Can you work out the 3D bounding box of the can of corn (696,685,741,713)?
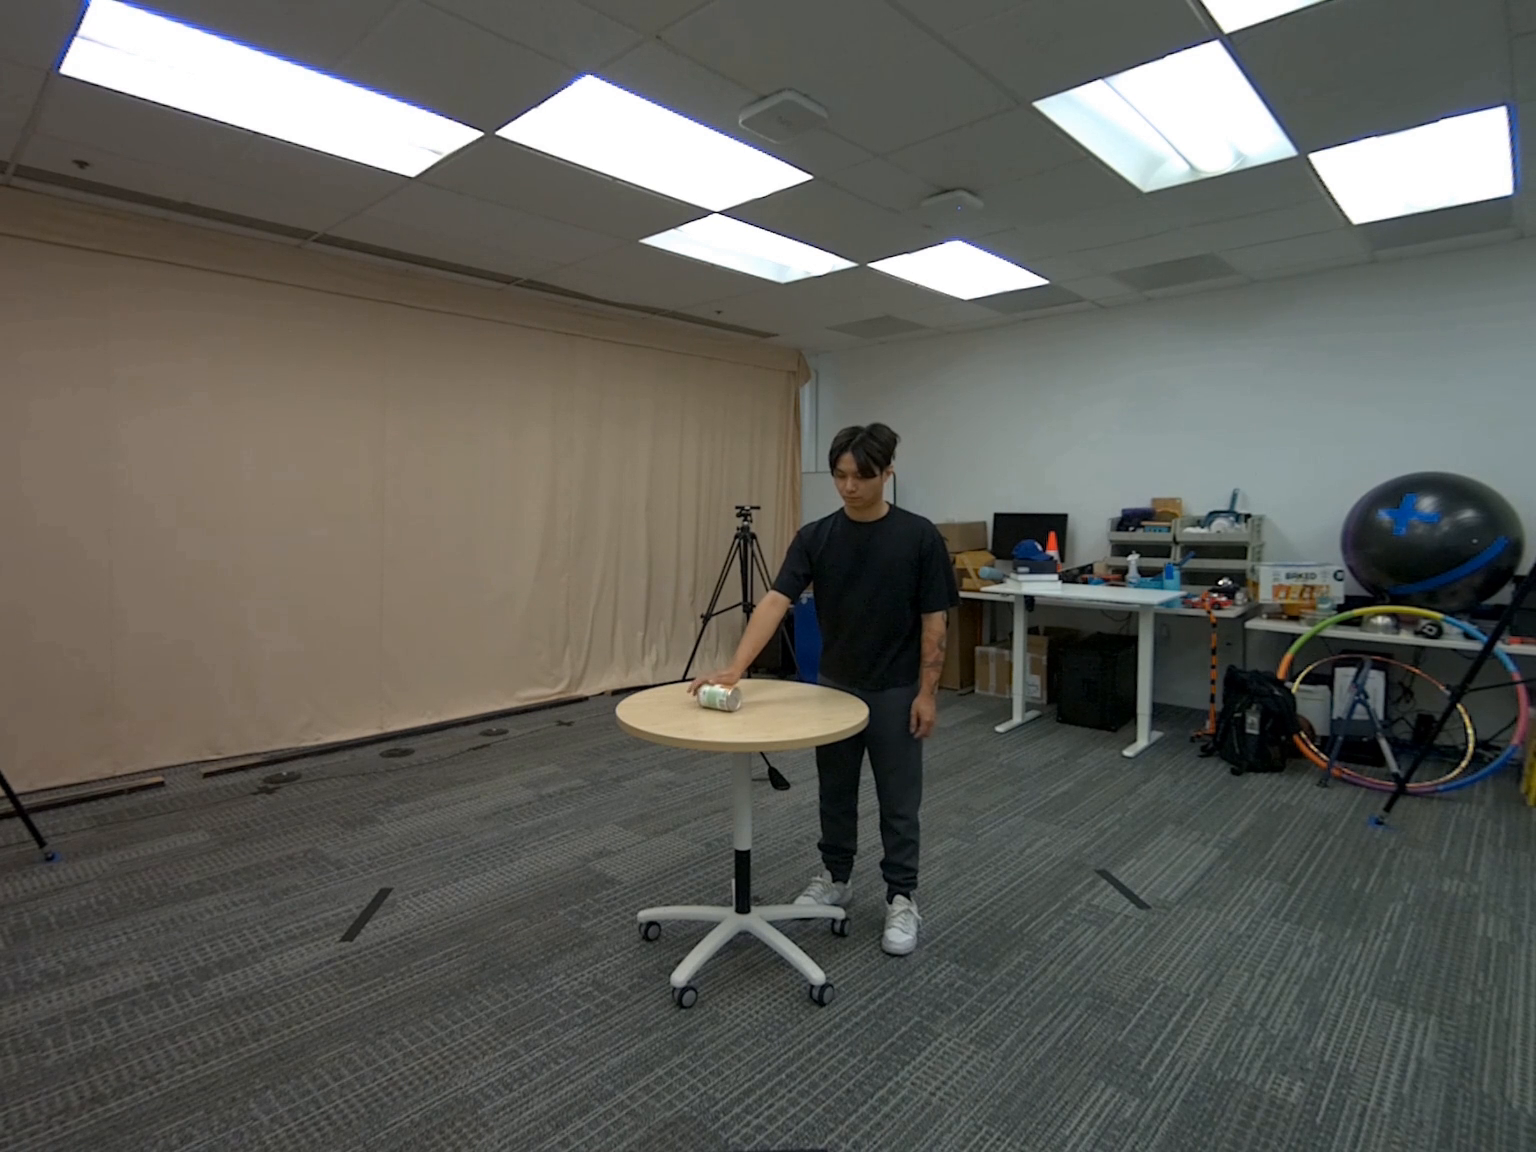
[{"bbox_3d":[-0.144,0.364,2.527,0.114,0.074,0.072,2,4,32],"label":"can of corn"}]
